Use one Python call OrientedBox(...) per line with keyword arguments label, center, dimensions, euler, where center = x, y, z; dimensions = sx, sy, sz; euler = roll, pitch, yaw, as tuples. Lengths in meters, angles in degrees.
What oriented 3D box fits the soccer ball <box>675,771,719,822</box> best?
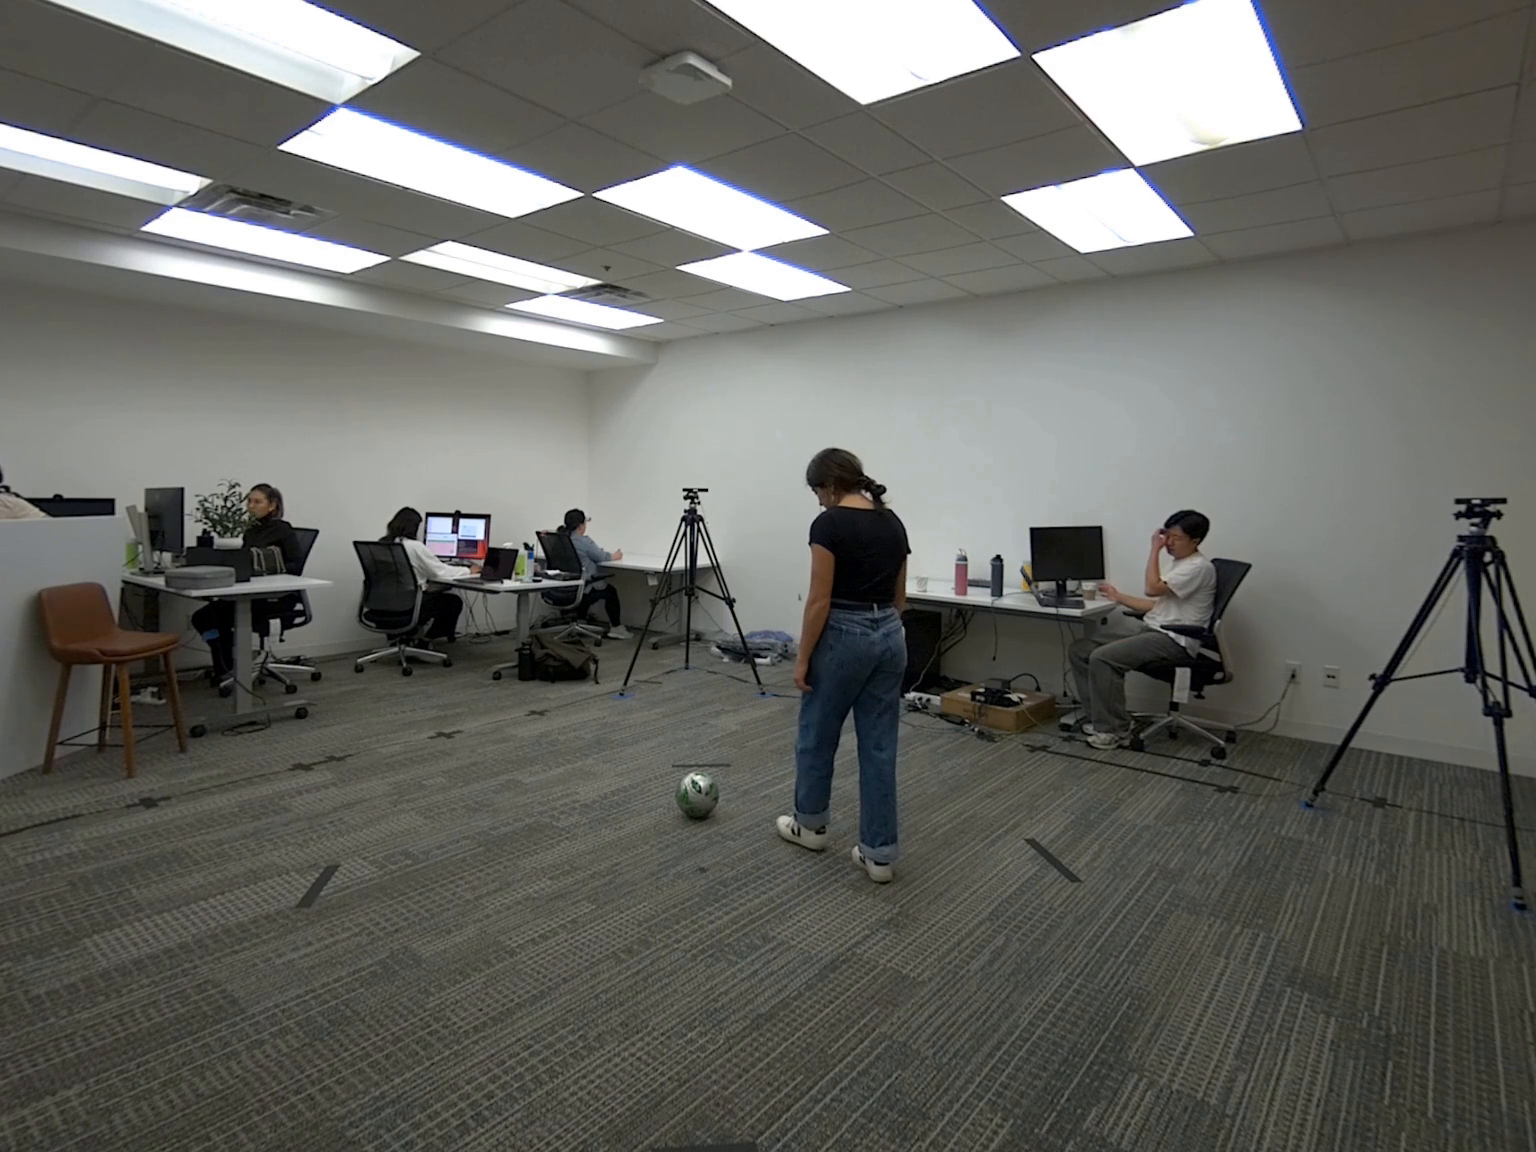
OrientedBox(label="soccer ball", center=(-0.305, 0.920, 3.625), dimensions=(0.187, 0.187, 0.188), euler=(1, 4, -2))
